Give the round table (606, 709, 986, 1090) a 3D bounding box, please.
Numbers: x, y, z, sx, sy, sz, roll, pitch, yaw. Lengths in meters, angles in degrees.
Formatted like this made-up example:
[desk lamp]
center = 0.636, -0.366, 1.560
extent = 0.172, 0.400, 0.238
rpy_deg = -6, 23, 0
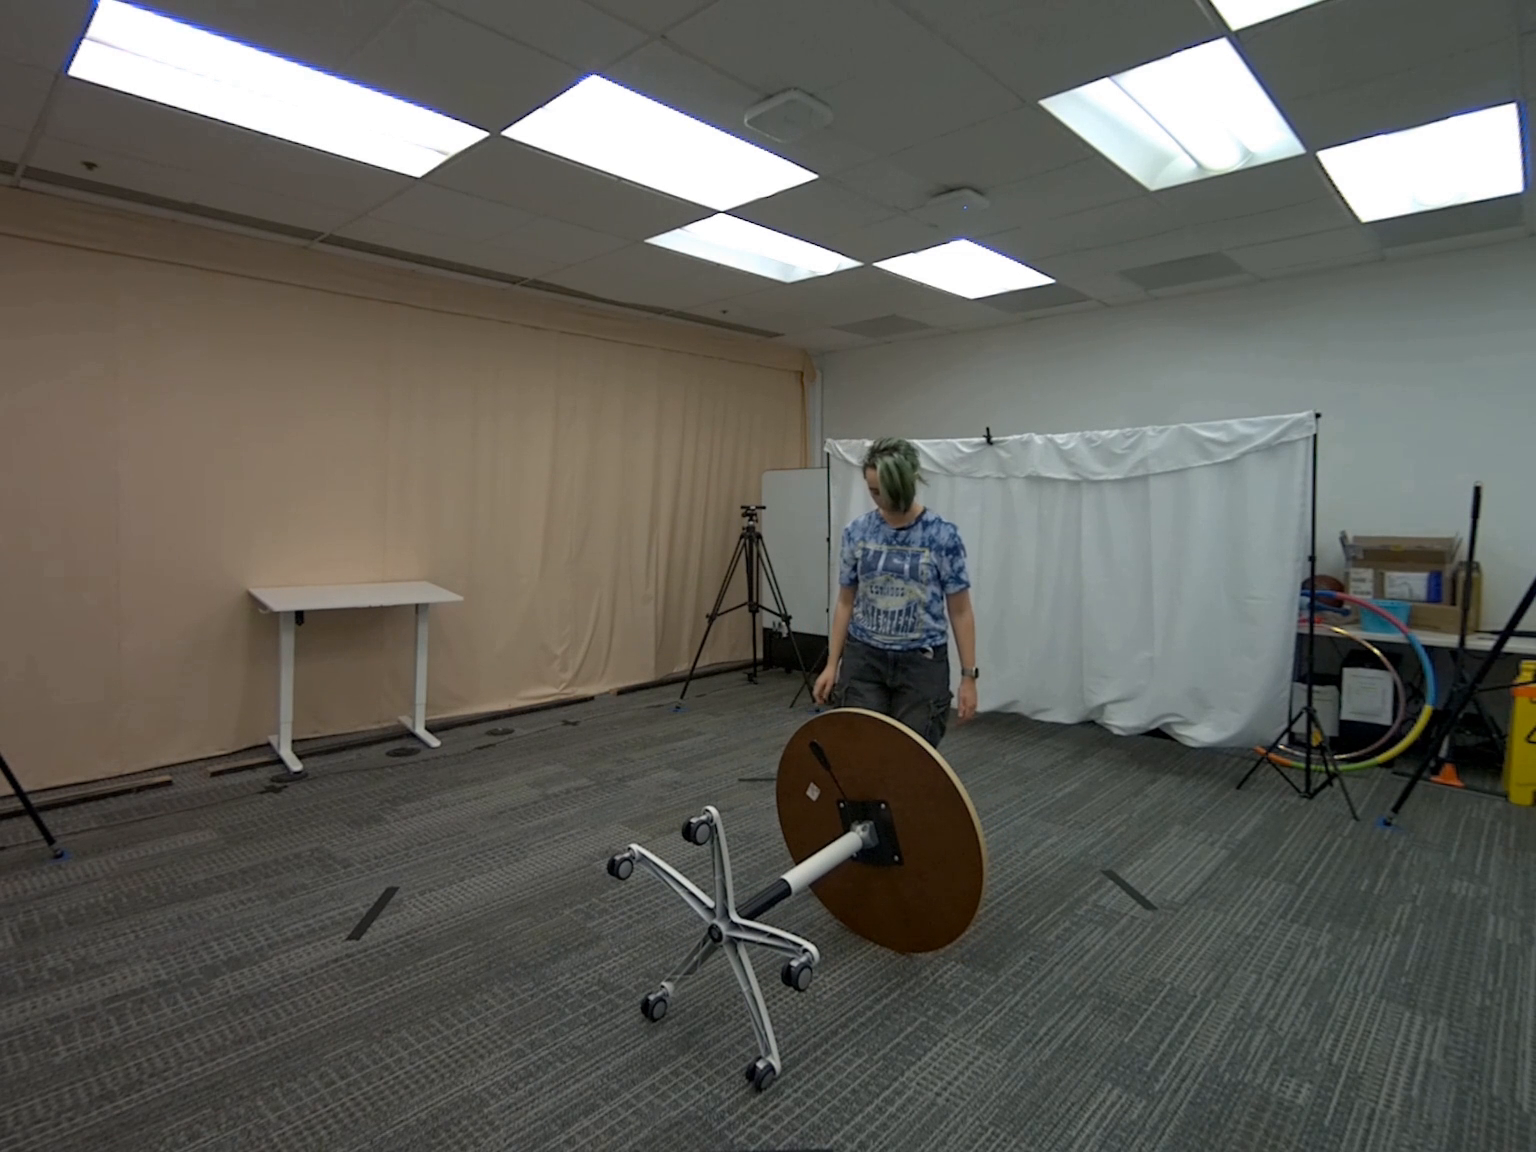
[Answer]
[round table]
center = 0.073, 0.857, 2.362
extent = 0.789, 0.759, 0.773
rpy_deg = 4, 12, 43
